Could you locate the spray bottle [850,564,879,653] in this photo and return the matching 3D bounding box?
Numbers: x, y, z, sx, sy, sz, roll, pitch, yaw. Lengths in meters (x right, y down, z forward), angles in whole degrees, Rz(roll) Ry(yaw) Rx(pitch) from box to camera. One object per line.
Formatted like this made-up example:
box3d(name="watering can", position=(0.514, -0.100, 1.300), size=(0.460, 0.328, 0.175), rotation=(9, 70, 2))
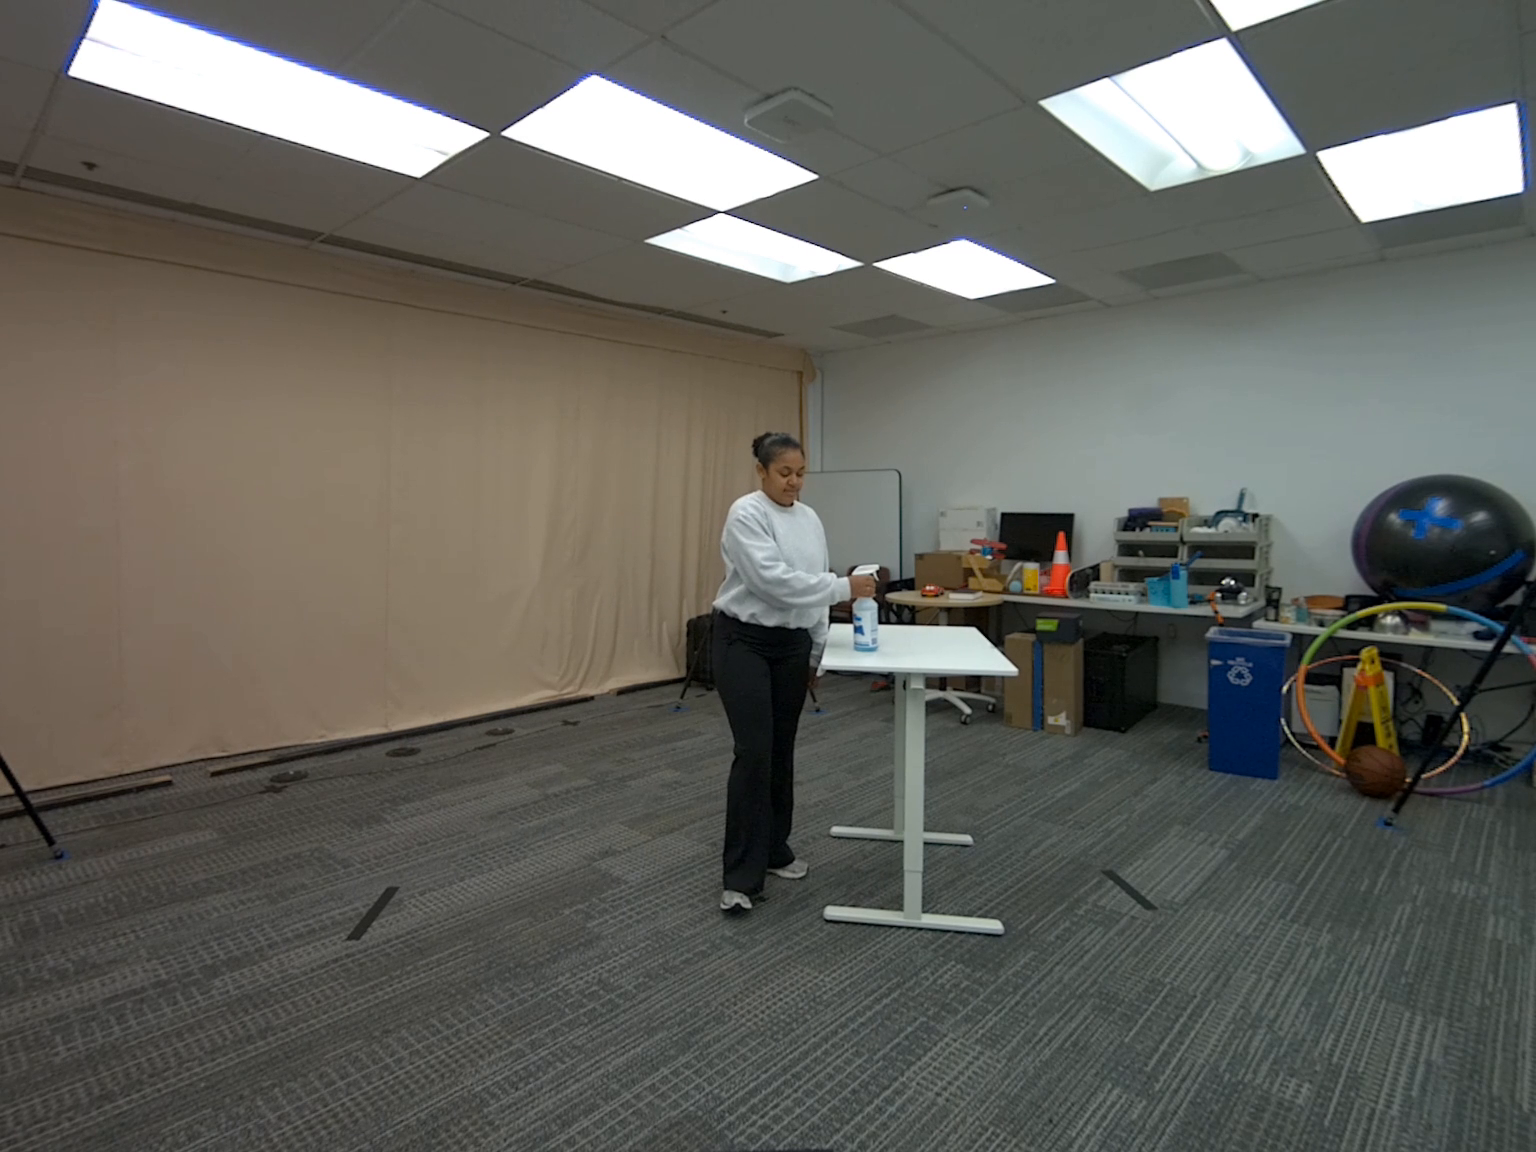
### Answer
box3d(name="spray bottle", position=(0.340, 0.106, 2.919), size=(0.092, 0.296, 0.085), rotation=(1, 9, 25))
